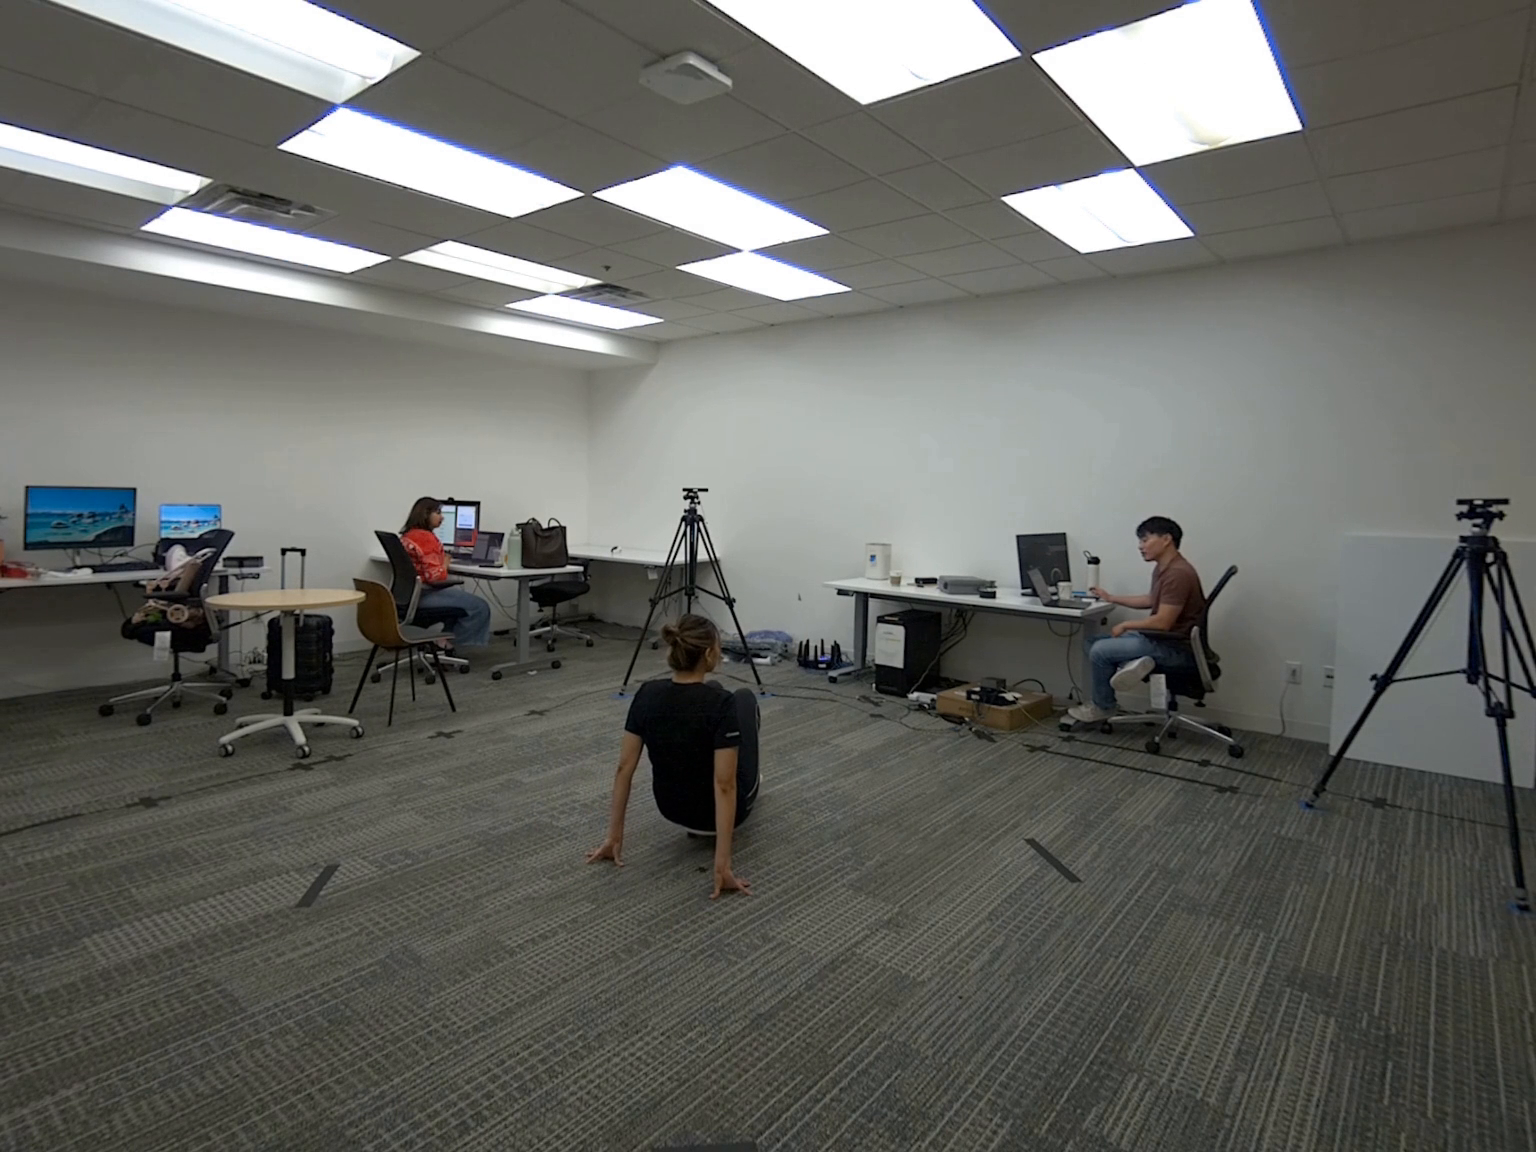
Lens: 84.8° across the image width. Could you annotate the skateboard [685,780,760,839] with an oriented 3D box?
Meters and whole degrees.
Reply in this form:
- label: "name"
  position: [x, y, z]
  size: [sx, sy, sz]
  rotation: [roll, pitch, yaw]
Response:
- label: "skateboard"
  position: [-0.207, 0.970, 3.576]
  size: [0.196, 0.110, 0.780]
  rotation: [6, 6, 8]
